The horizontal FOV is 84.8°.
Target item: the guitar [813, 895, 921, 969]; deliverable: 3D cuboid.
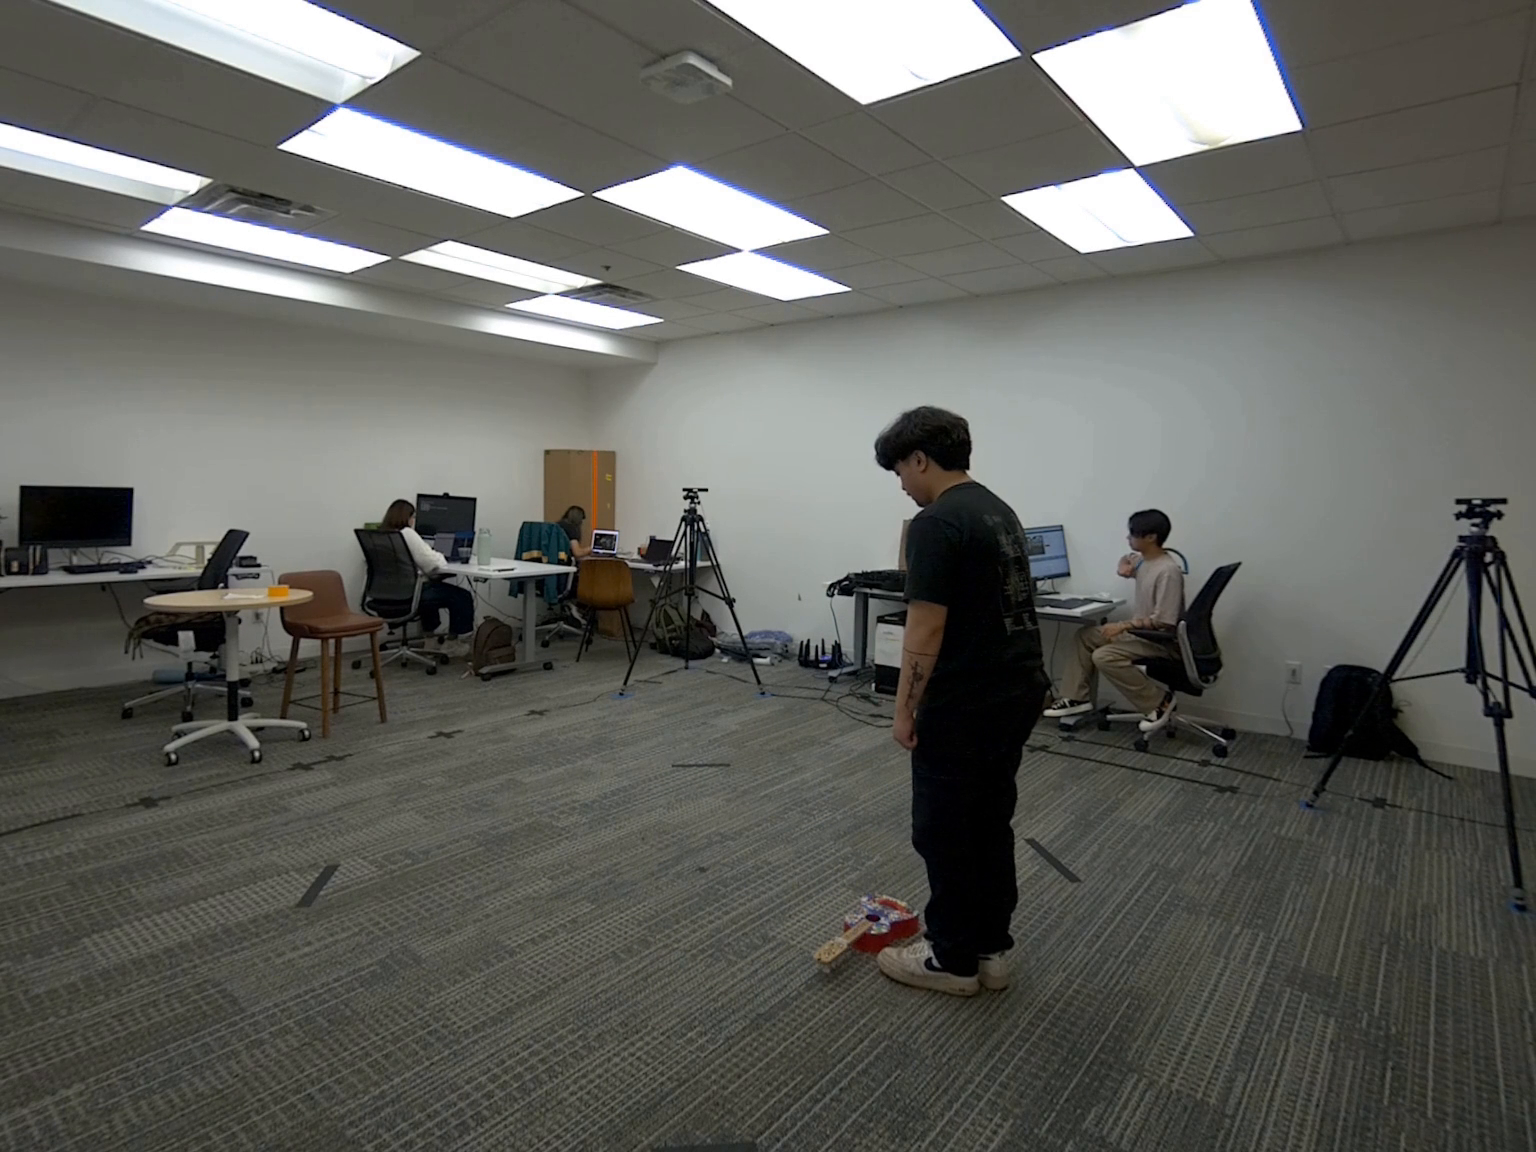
[{"bbox_3d":[0.262,1.096,2.624,0.482,0.070,0.200,-3,7,-44],"label":"guitar"}]
